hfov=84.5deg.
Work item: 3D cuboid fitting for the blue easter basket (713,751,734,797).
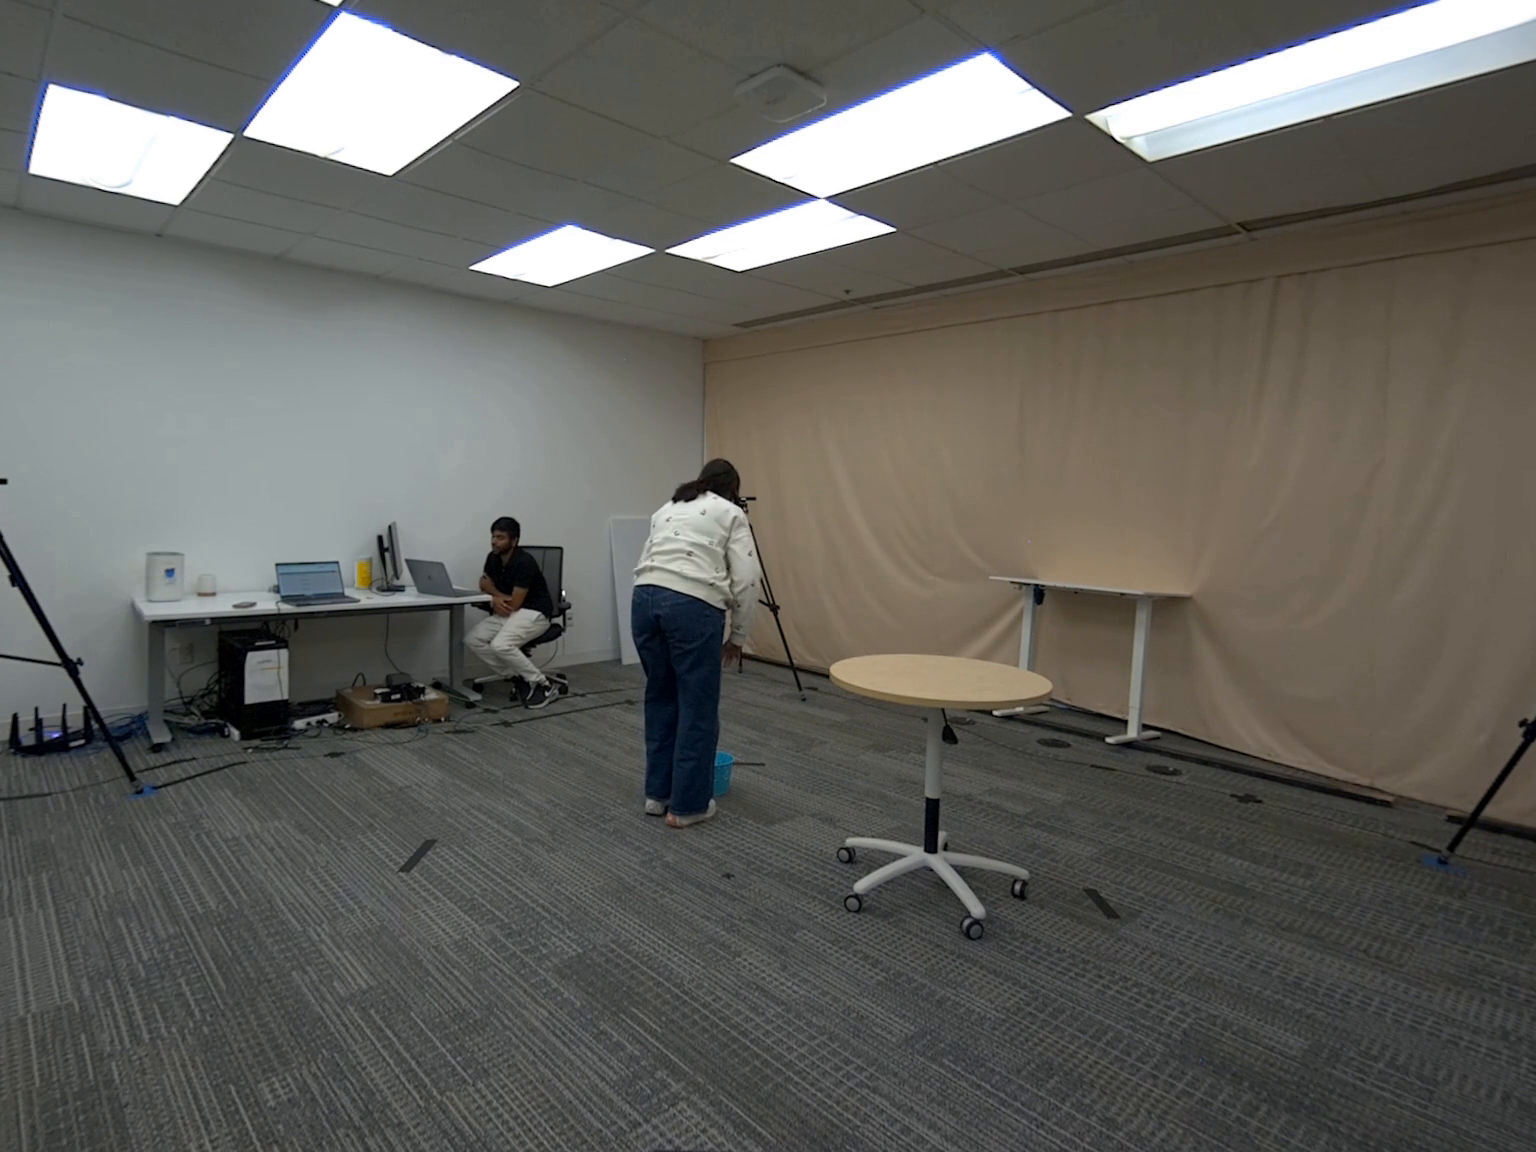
[{"bbox_3d":[-0.286,0.949,4.049,0.243,0.155,0.244,2,4,-1],"label":"blue easter basket"}]
